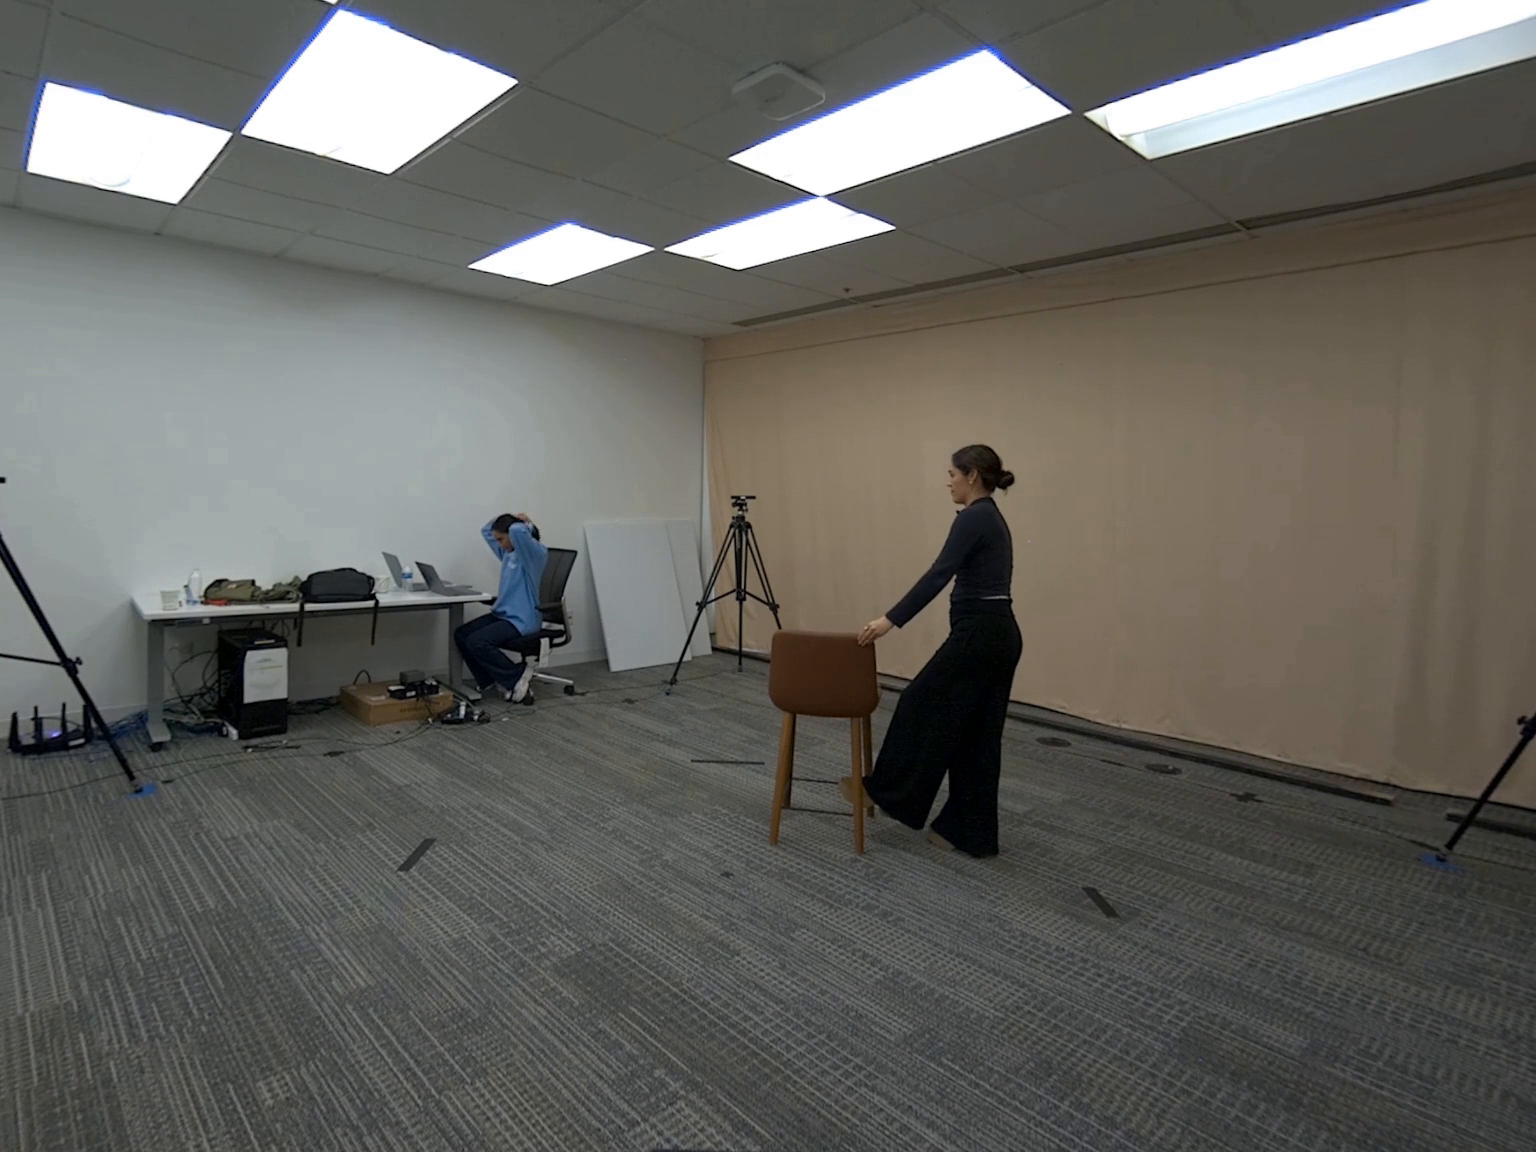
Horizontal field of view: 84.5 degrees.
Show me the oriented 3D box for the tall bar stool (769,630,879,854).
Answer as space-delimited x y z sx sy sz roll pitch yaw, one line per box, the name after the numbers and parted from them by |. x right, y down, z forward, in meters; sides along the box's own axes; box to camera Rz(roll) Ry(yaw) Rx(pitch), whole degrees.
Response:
0.234 0.638 3.540 0.462 0.887 0.464 2 5 13 | tall bar stool
